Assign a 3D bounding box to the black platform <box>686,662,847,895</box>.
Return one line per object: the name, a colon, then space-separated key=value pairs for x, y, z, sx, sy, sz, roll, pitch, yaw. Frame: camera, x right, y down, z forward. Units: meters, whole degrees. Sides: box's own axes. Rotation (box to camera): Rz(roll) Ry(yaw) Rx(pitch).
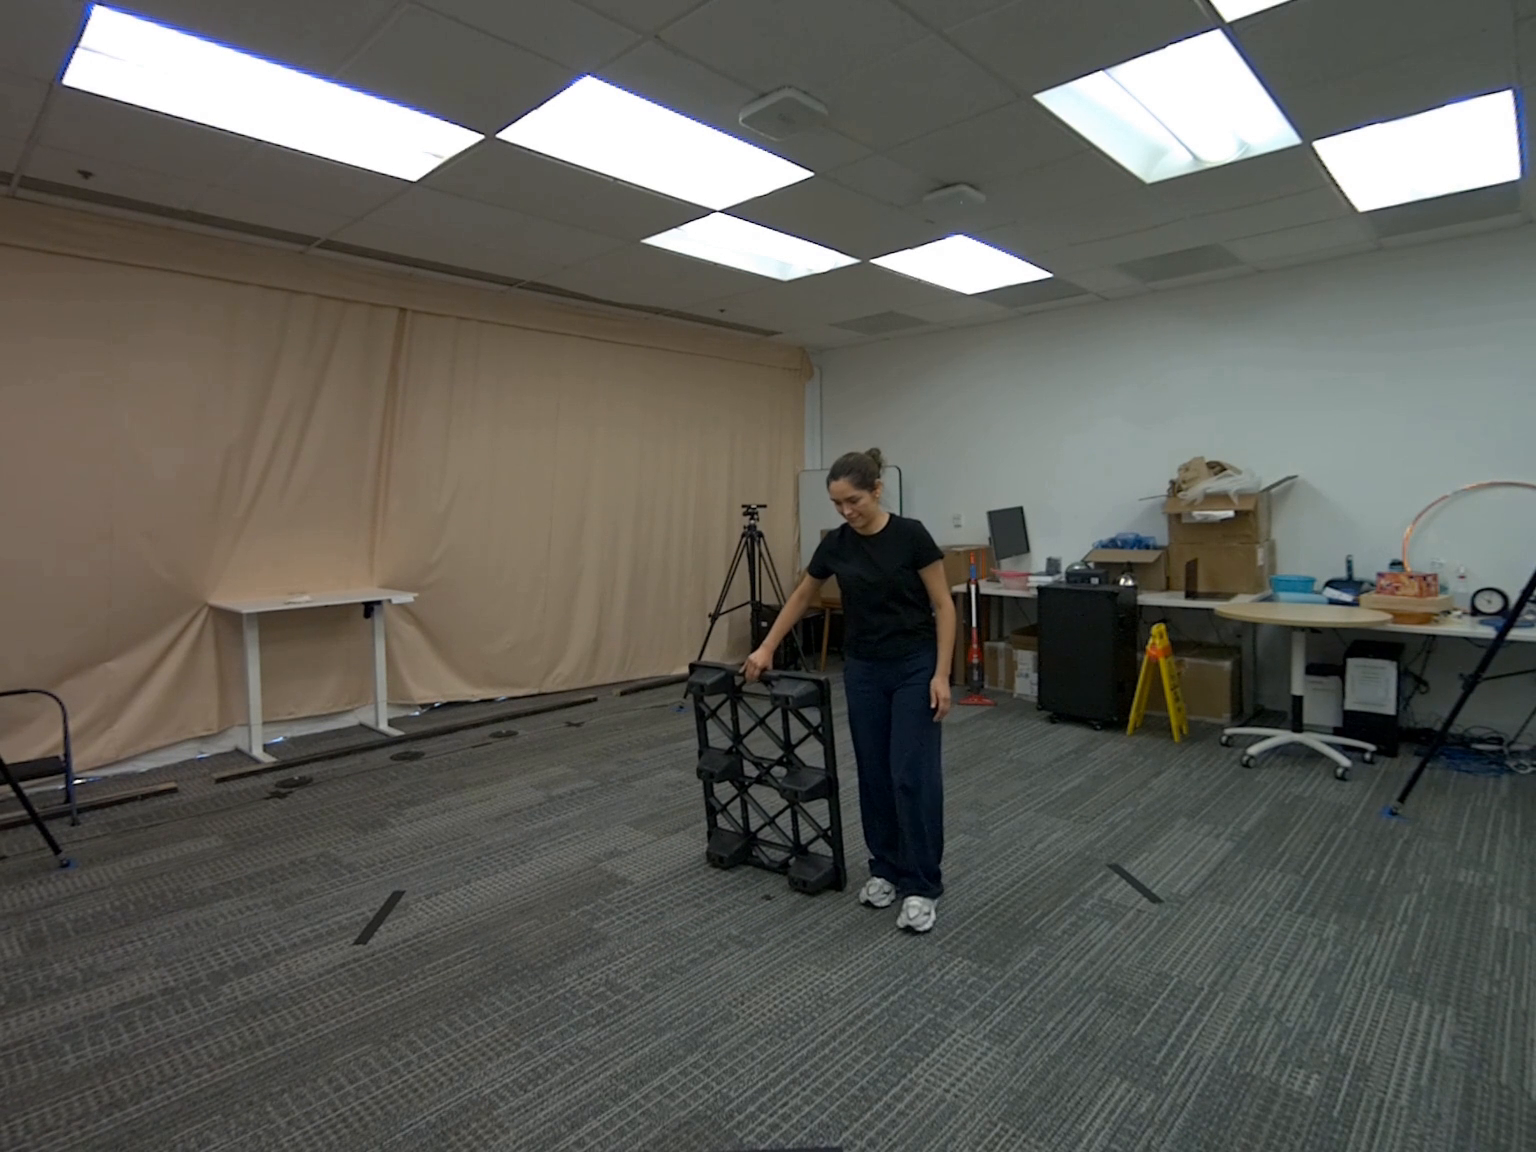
black platform: x=-0.018 y=0.743 z=3.102 sx=0.624 sy=0.800 sz=0.140 roll=1 pitch=11 yaw=35
